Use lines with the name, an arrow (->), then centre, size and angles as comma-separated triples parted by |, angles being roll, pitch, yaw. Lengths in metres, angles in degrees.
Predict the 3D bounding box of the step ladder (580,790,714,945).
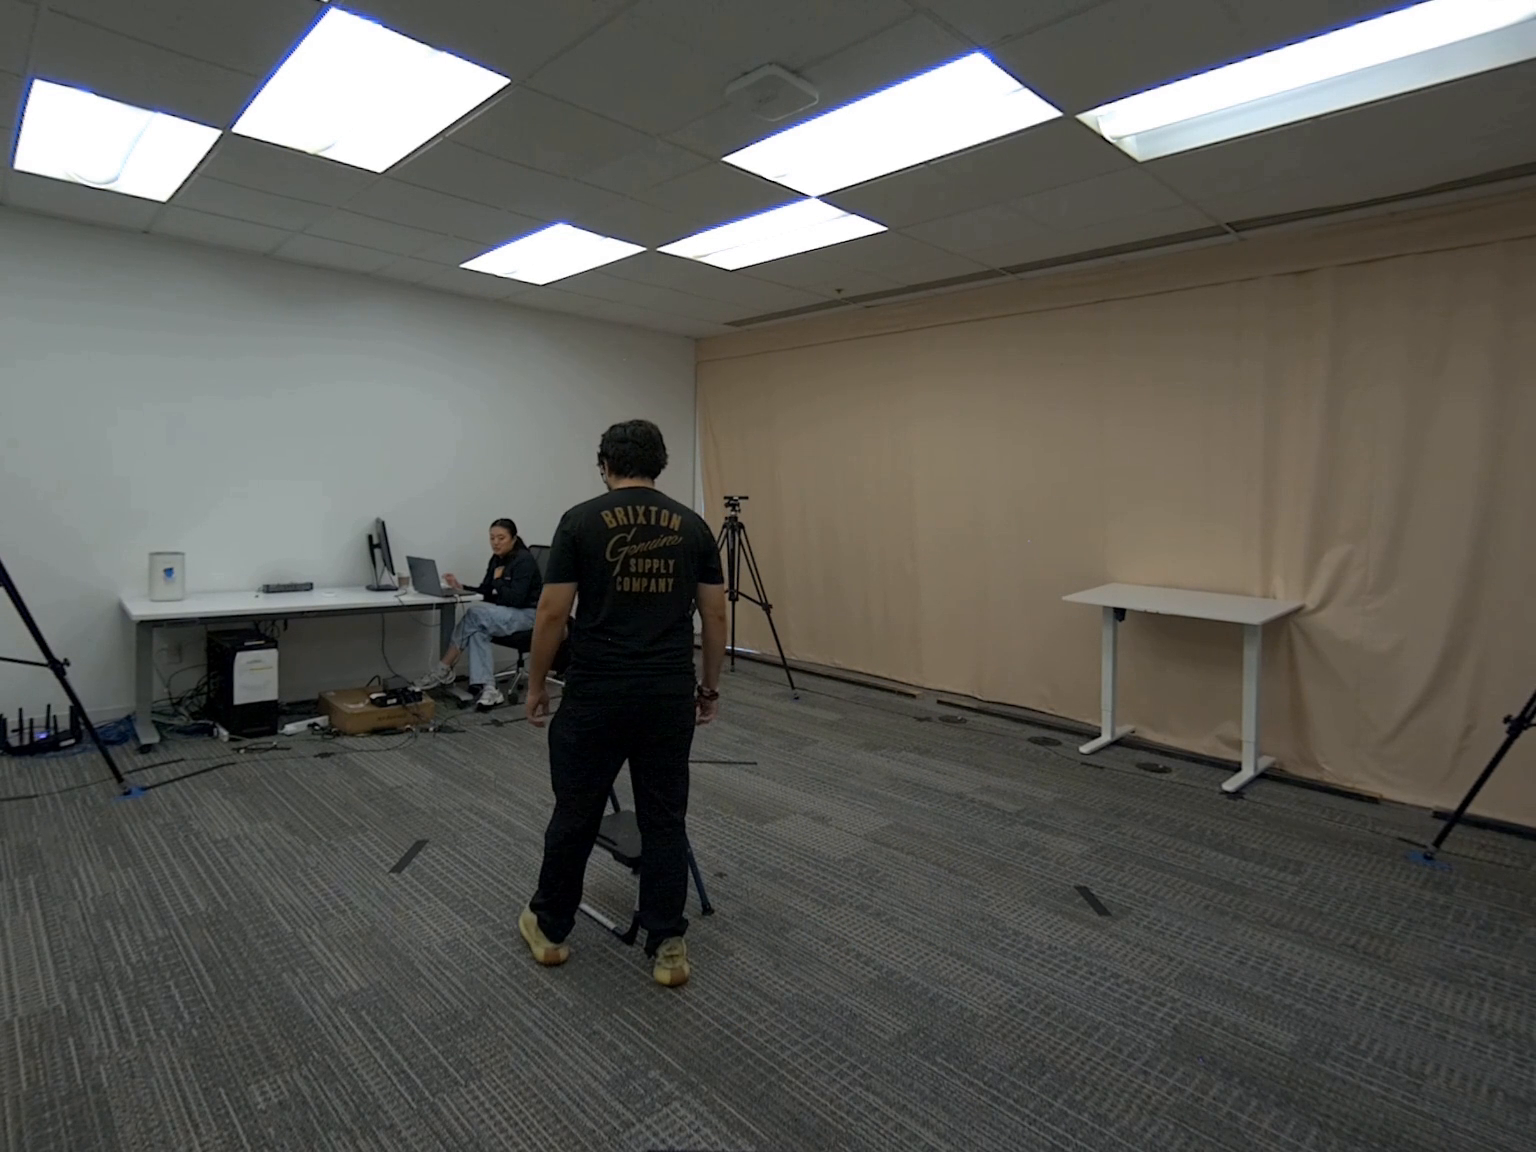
step ladder -> -0.447, 0.820, 2.845 | 0.341, 0.604, 0.442 | -2, 5, -44
